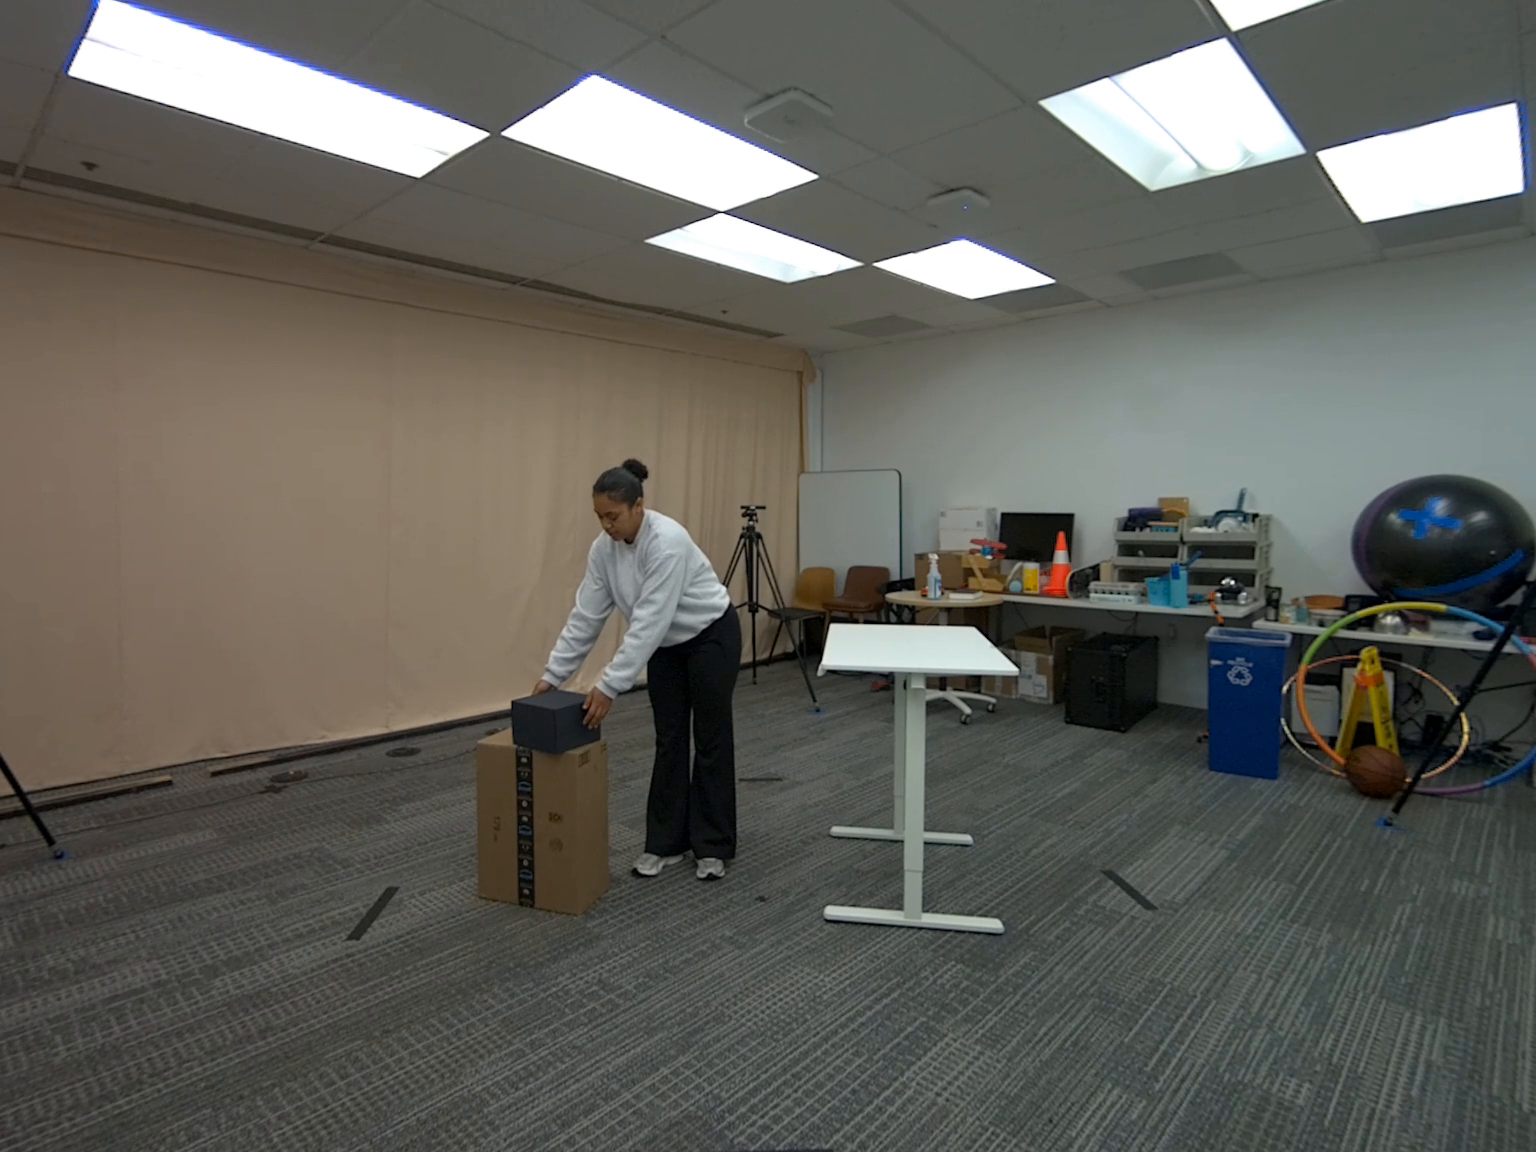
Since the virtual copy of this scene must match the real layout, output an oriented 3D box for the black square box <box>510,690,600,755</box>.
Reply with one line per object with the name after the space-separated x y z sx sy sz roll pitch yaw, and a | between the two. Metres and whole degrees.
-0.741 0.507 2.967 0.235 0.155 0.211 2 5 34 | black square box
